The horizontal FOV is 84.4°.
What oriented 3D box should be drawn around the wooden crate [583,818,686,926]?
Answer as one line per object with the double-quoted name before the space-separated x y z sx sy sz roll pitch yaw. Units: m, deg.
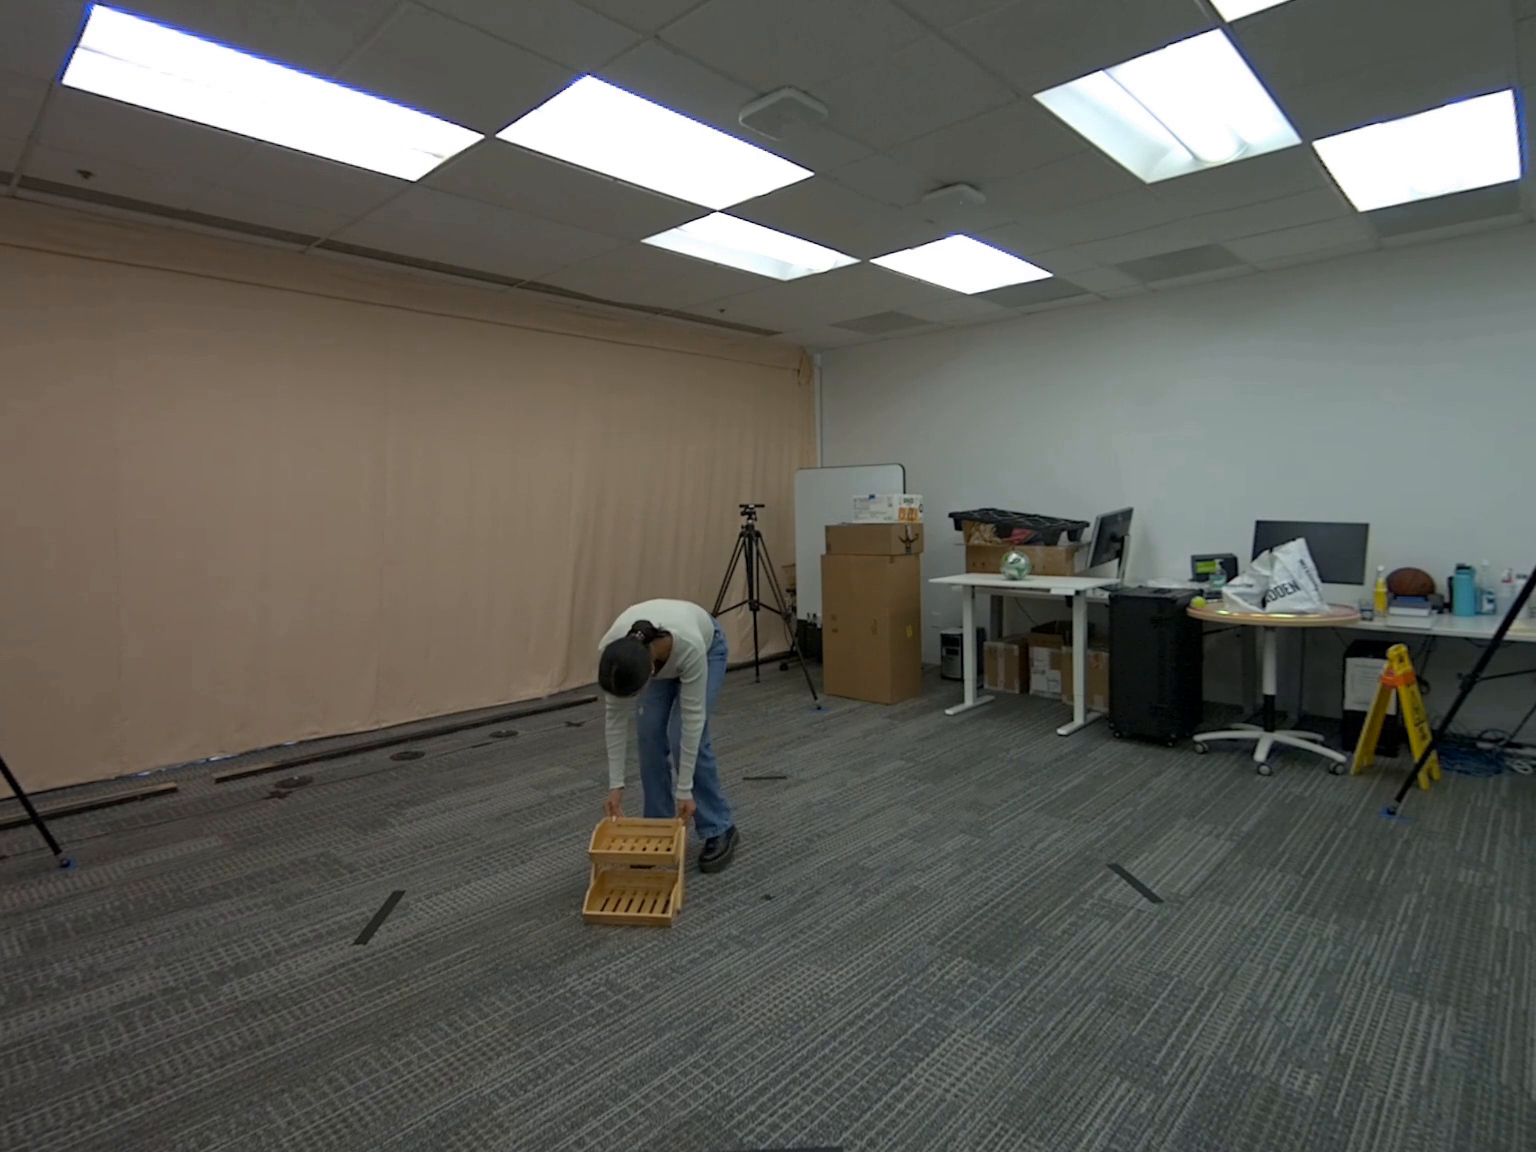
"wooden crate" -0.464 1.025 2.921 0.327 0.273 0.300 0 3 7
